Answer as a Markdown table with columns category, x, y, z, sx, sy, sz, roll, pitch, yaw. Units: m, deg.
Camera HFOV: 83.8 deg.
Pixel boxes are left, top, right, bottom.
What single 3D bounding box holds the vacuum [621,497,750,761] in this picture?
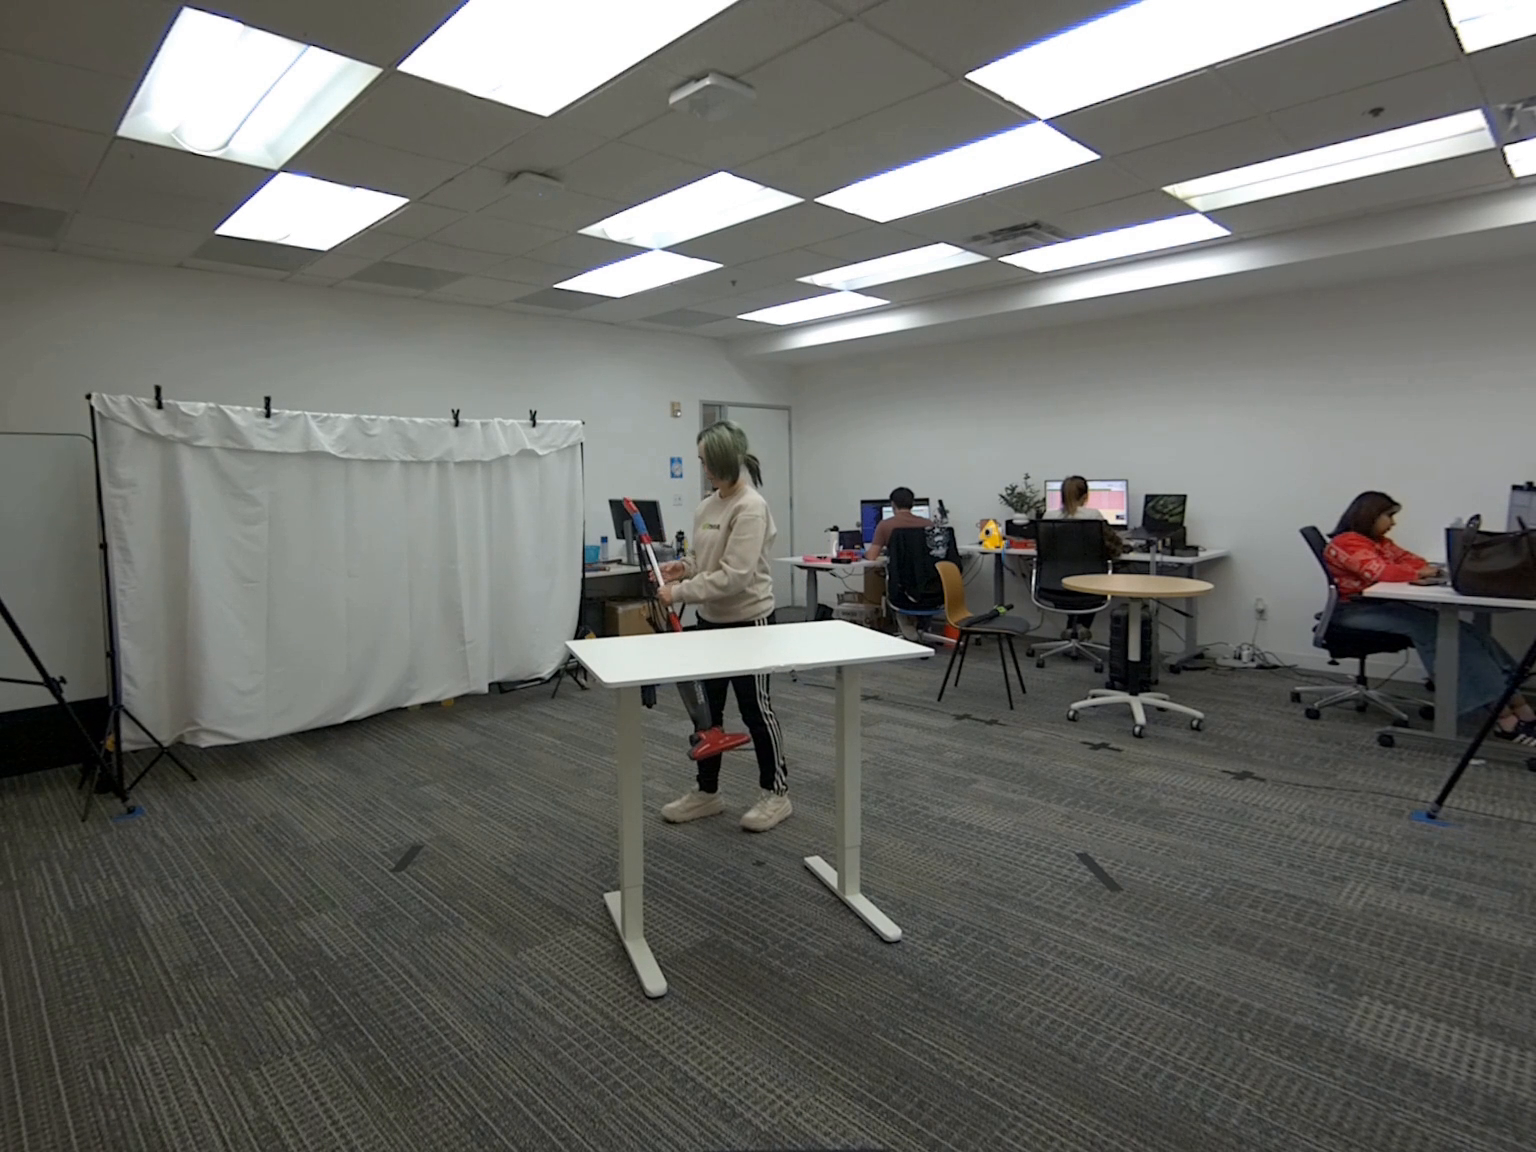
| category | x | y | z | sx | sy | sz | roll | pitch | yaw |
| --- | --- | --- | --- | --- | --- | --- | --- | --- | --- |
| vacuum | -0.396 | 0.163 | 3.356 | 0.248 | 1.071 | 0.143 | -14 | -19 | -28 |
